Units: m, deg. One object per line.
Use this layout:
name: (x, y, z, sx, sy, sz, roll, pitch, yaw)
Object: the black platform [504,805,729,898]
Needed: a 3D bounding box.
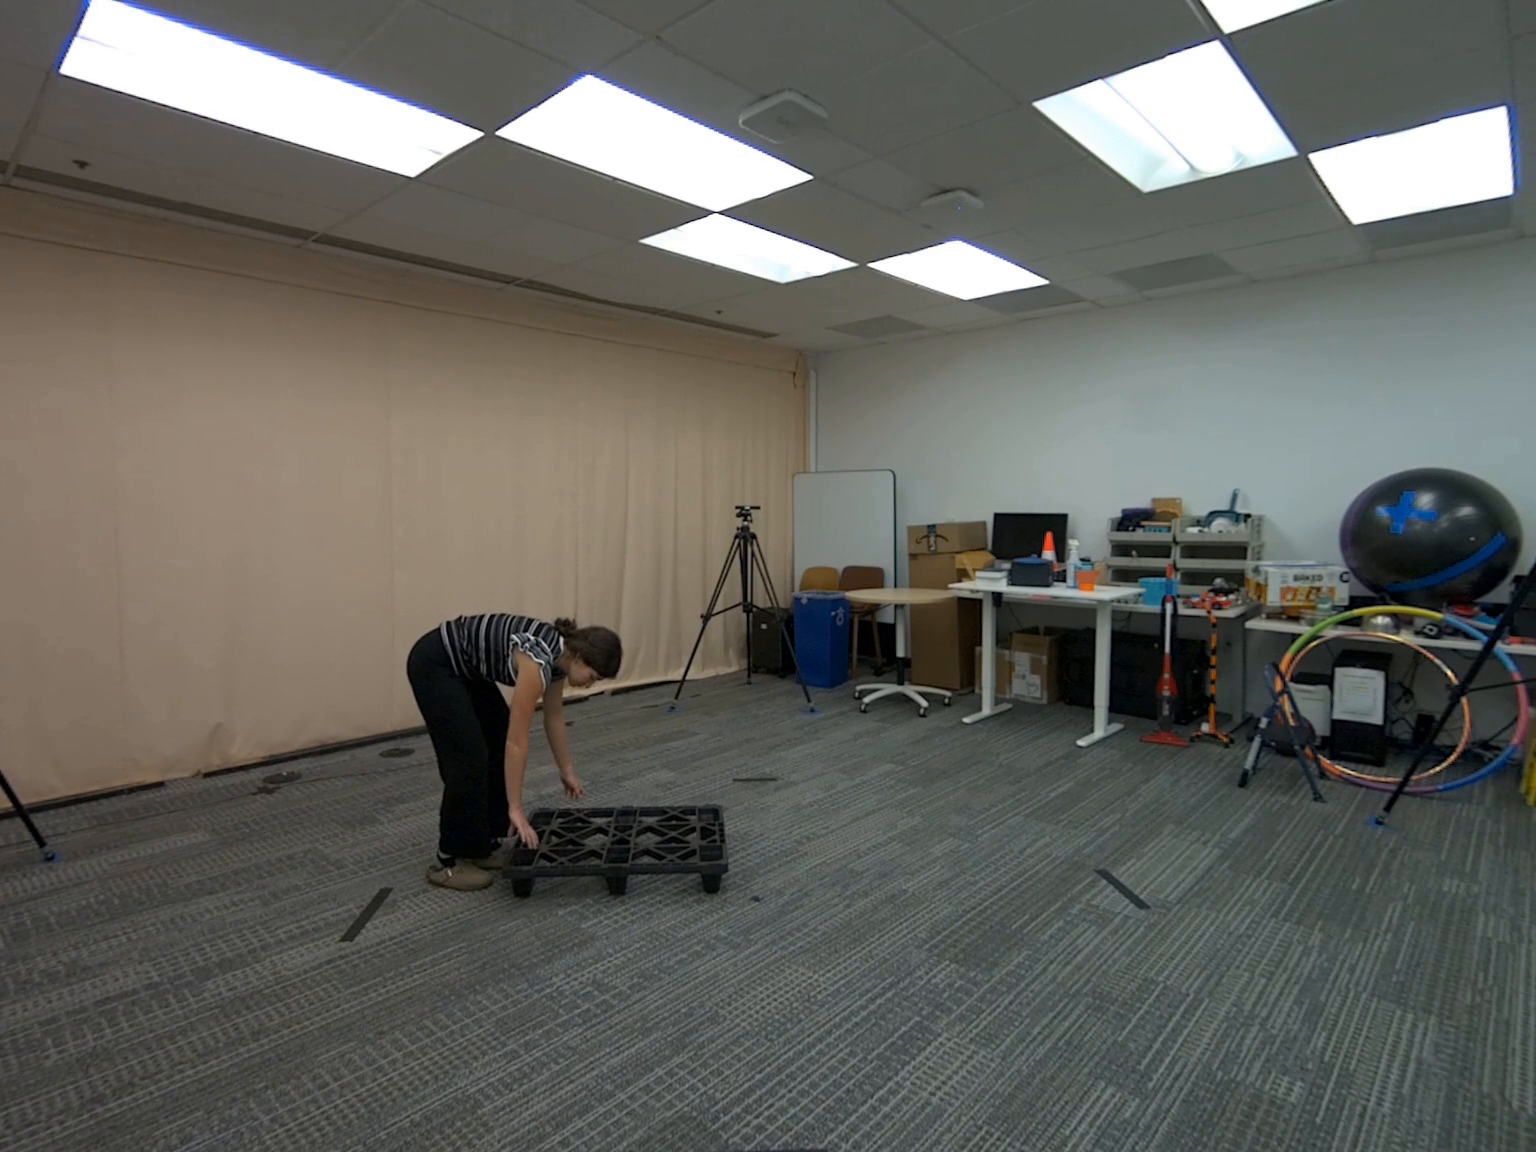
black platform: (-0.565, 1.057, 3.245, 0.804, 0.143, 0.608, -1, 4, -3)
